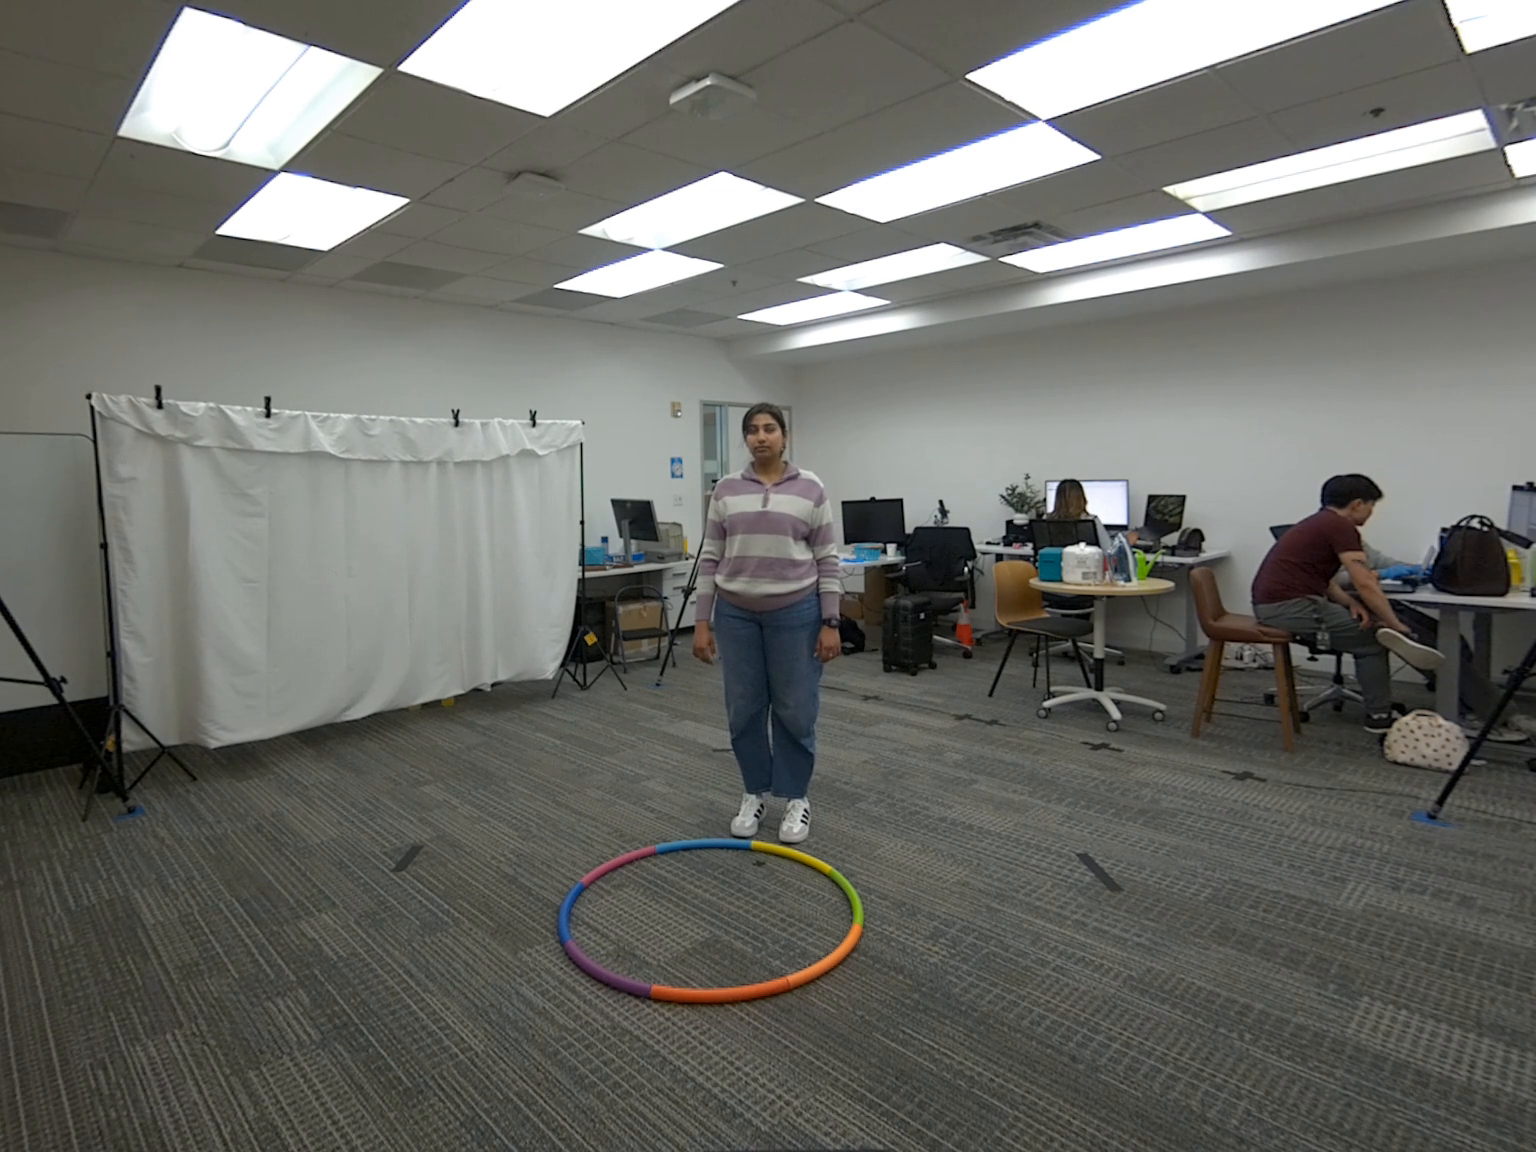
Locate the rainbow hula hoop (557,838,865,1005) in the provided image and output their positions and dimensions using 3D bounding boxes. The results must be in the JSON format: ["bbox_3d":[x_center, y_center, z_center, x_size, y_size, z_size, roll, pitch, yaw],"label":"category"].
[{"bbox_3d":[-0.177,1.056,2.773,0.978,0.035,0.984,-2,7,-1],"label":"rainbow hula hoop"}]
